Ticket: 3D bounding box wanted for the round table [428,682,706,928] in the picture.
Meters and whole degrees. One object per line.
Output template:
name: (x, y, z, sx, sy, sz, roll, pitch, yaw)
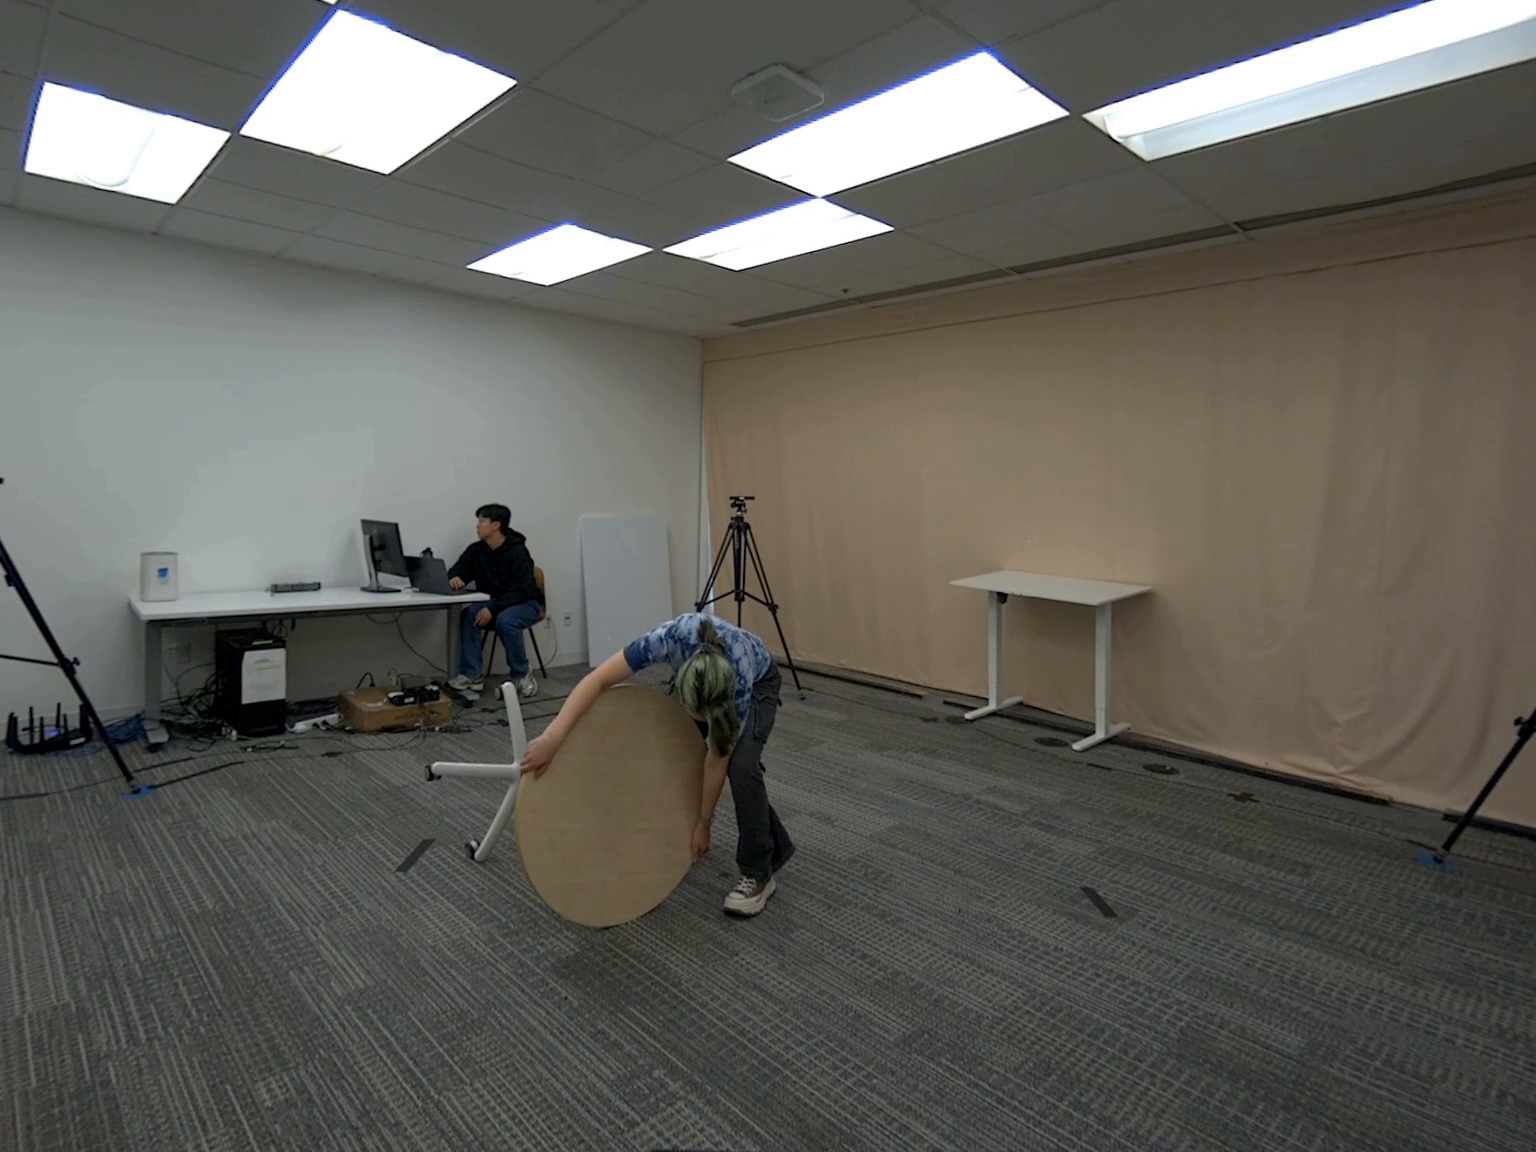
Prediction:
round table: (-0.753, 0.754, 3.055, 0.746, 0.764, 0.811, -3, 0, -43)
